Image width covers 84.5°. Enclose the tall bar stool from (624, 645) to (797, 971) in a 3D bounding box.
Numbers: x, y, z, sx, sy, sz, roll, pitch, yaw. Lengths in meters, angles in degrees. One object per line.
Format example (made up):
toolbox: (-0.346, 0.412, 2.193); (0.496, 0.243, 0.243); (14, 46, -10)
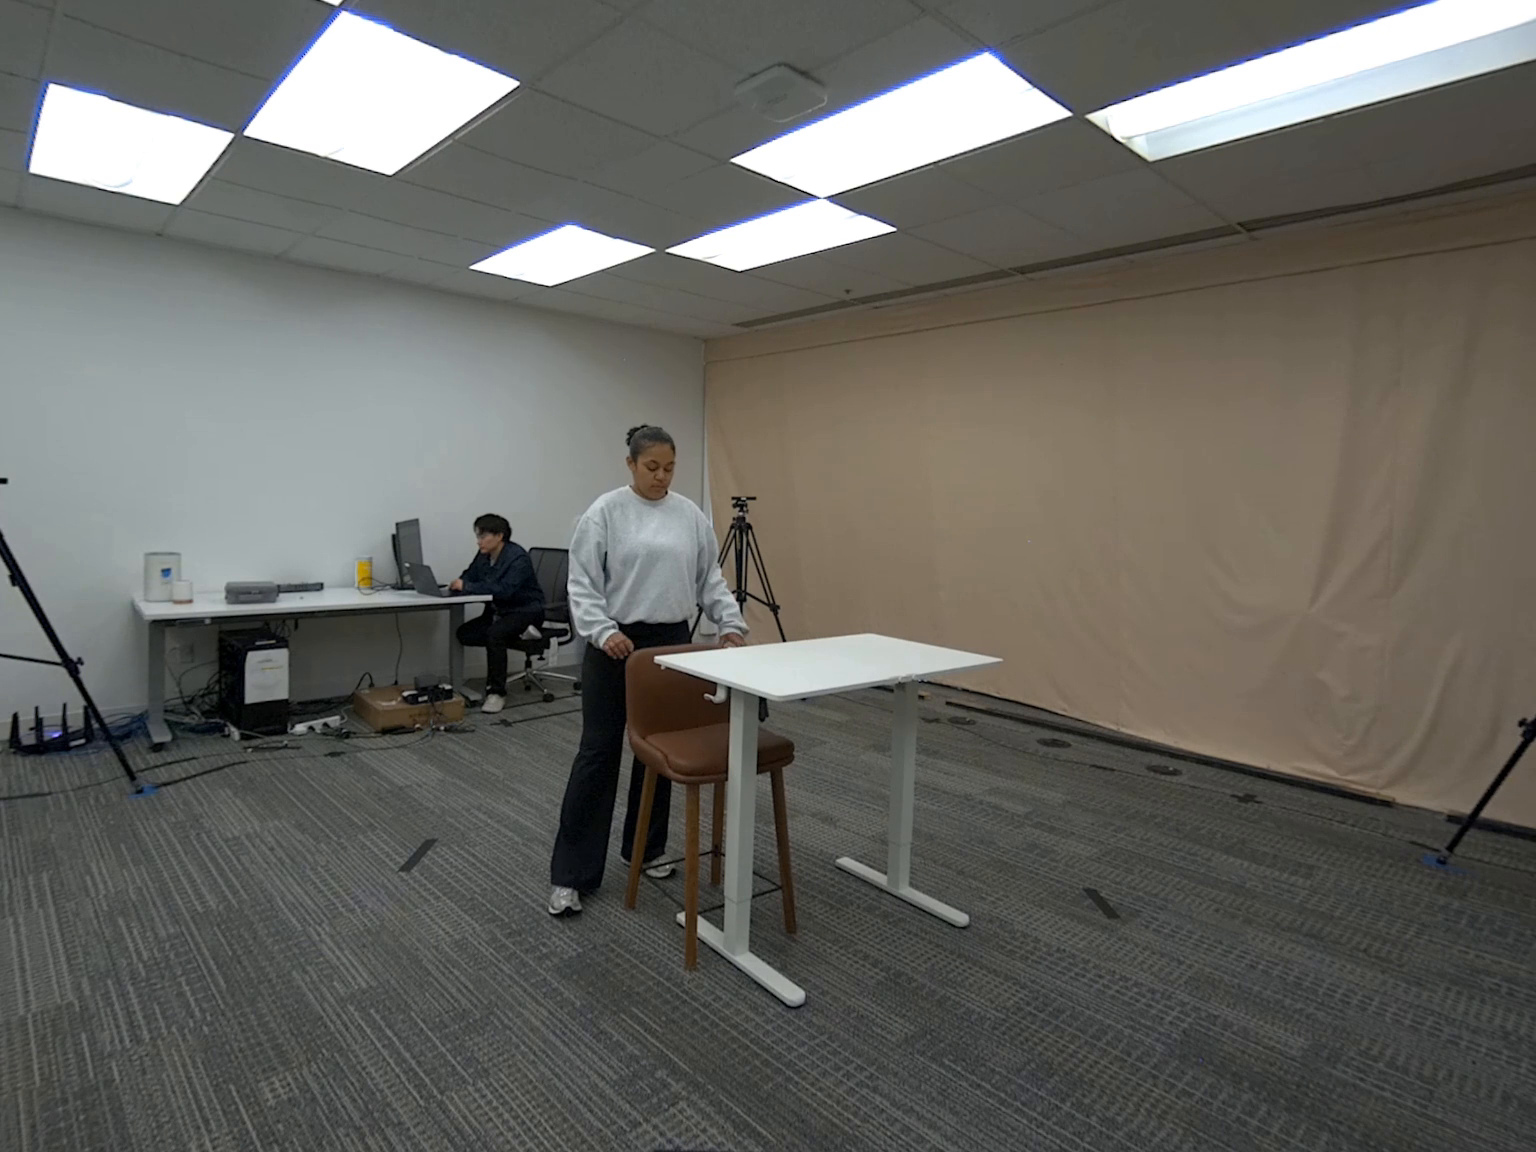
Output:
tall bar stool: (-0.201, 0.699, 2.754); (0.447, 0.888, 0.478); (-2, 3, -34)
